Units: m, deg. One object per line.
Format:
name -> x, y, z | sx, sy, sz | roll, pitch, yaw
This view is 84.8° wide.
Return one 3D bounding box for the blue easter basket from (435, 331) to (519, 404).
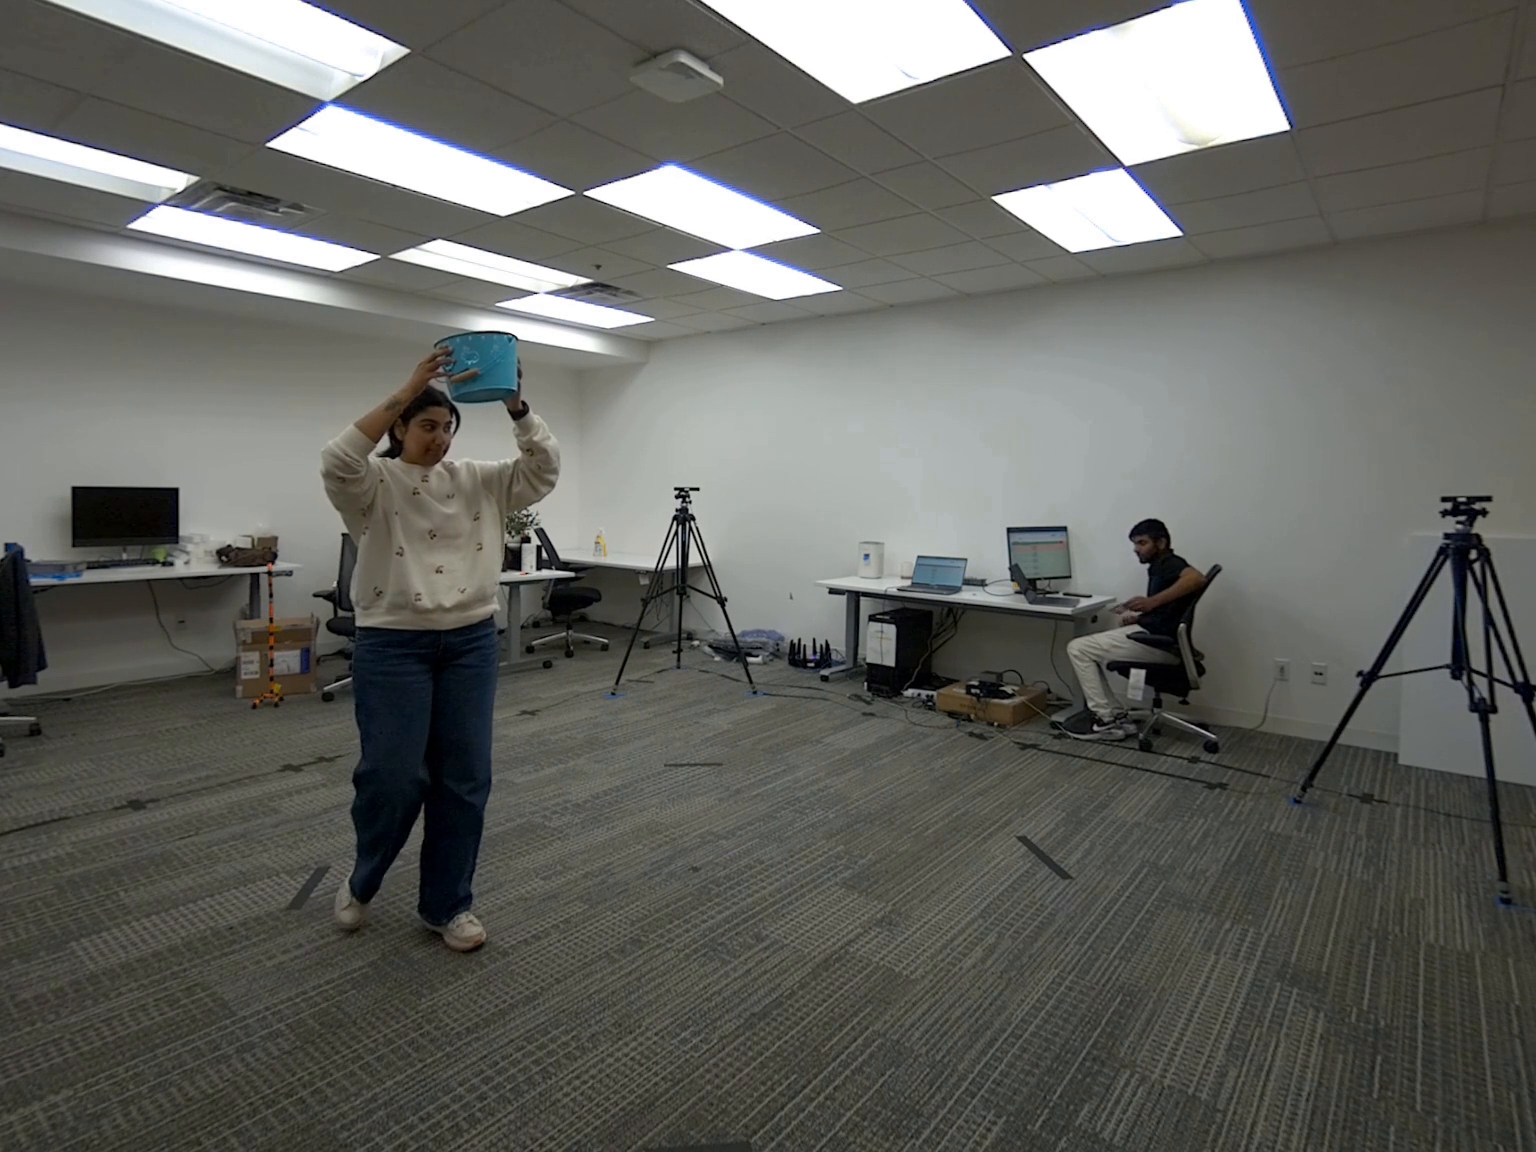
blue easter basket -> -0.826, -0.578, 2.365 | 0.243, 0.156, 0.244 | -9, 2, -2
